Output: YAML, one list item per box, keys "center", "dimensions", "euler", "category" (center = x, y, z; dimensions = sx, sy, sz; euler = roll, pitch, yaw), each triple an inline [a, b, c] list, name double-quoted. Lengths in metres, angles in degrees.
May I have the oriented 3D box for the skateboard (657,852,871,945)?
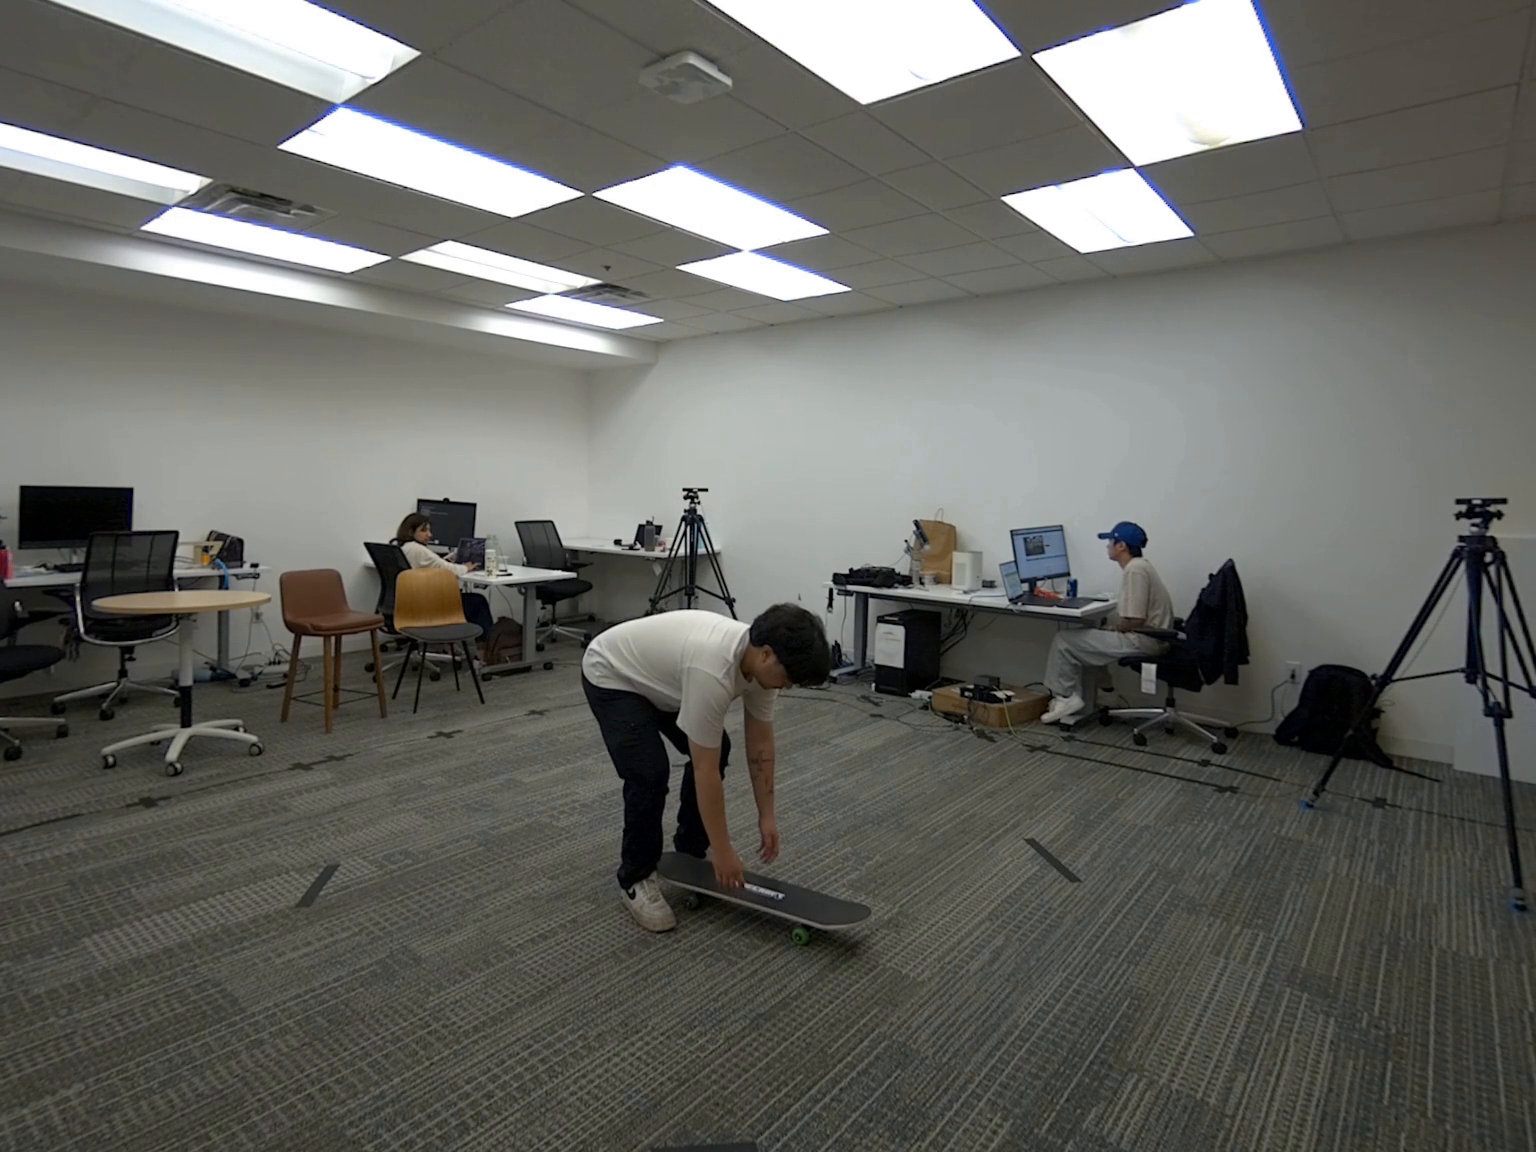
- center: [-0.047, 1.048, 2.774]
  dimensions: [0.808, 0.110, 0.189]
  euler: [4, 6, 29]
  category: "skateboard"
